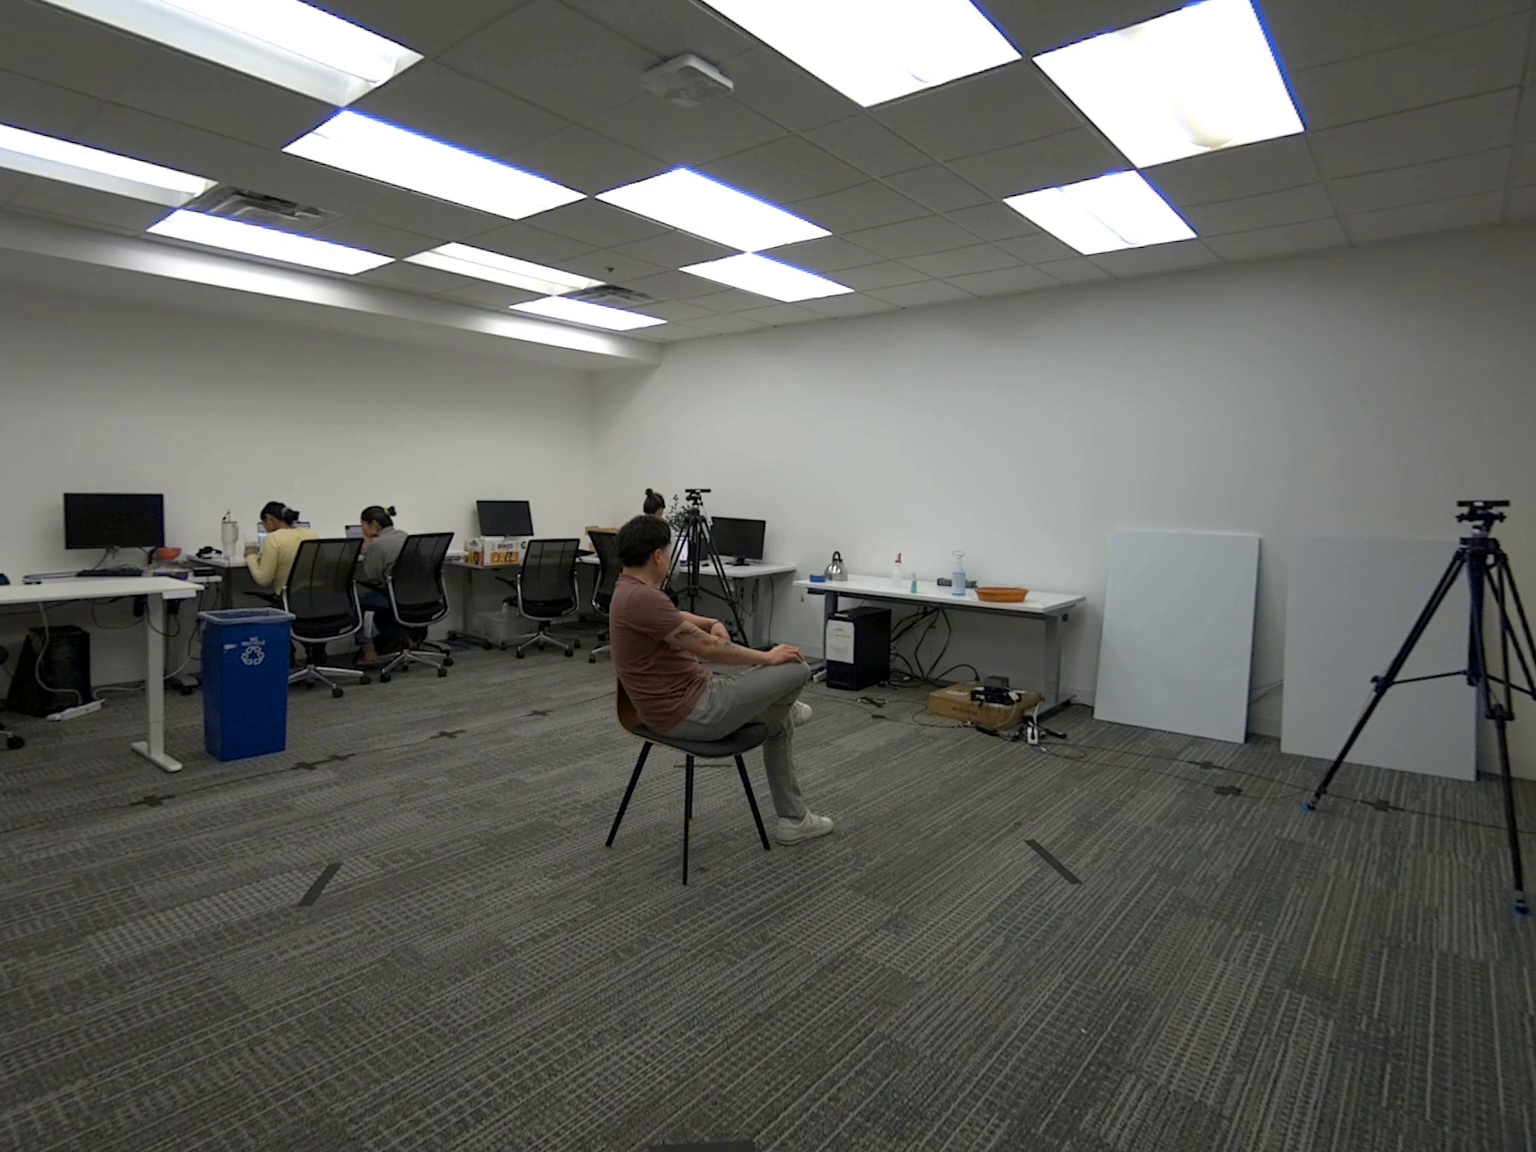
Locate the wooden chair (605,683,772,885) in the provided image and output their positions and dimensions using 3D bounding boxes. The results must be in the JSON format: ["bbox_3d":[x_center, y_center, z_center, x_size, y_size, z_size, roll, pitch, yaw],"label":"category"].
[{"bbox_3d":[-0.308,0.630,3.268,0.539,0.877,0.463,-2,0,44],"label":"wooden chair"}]
